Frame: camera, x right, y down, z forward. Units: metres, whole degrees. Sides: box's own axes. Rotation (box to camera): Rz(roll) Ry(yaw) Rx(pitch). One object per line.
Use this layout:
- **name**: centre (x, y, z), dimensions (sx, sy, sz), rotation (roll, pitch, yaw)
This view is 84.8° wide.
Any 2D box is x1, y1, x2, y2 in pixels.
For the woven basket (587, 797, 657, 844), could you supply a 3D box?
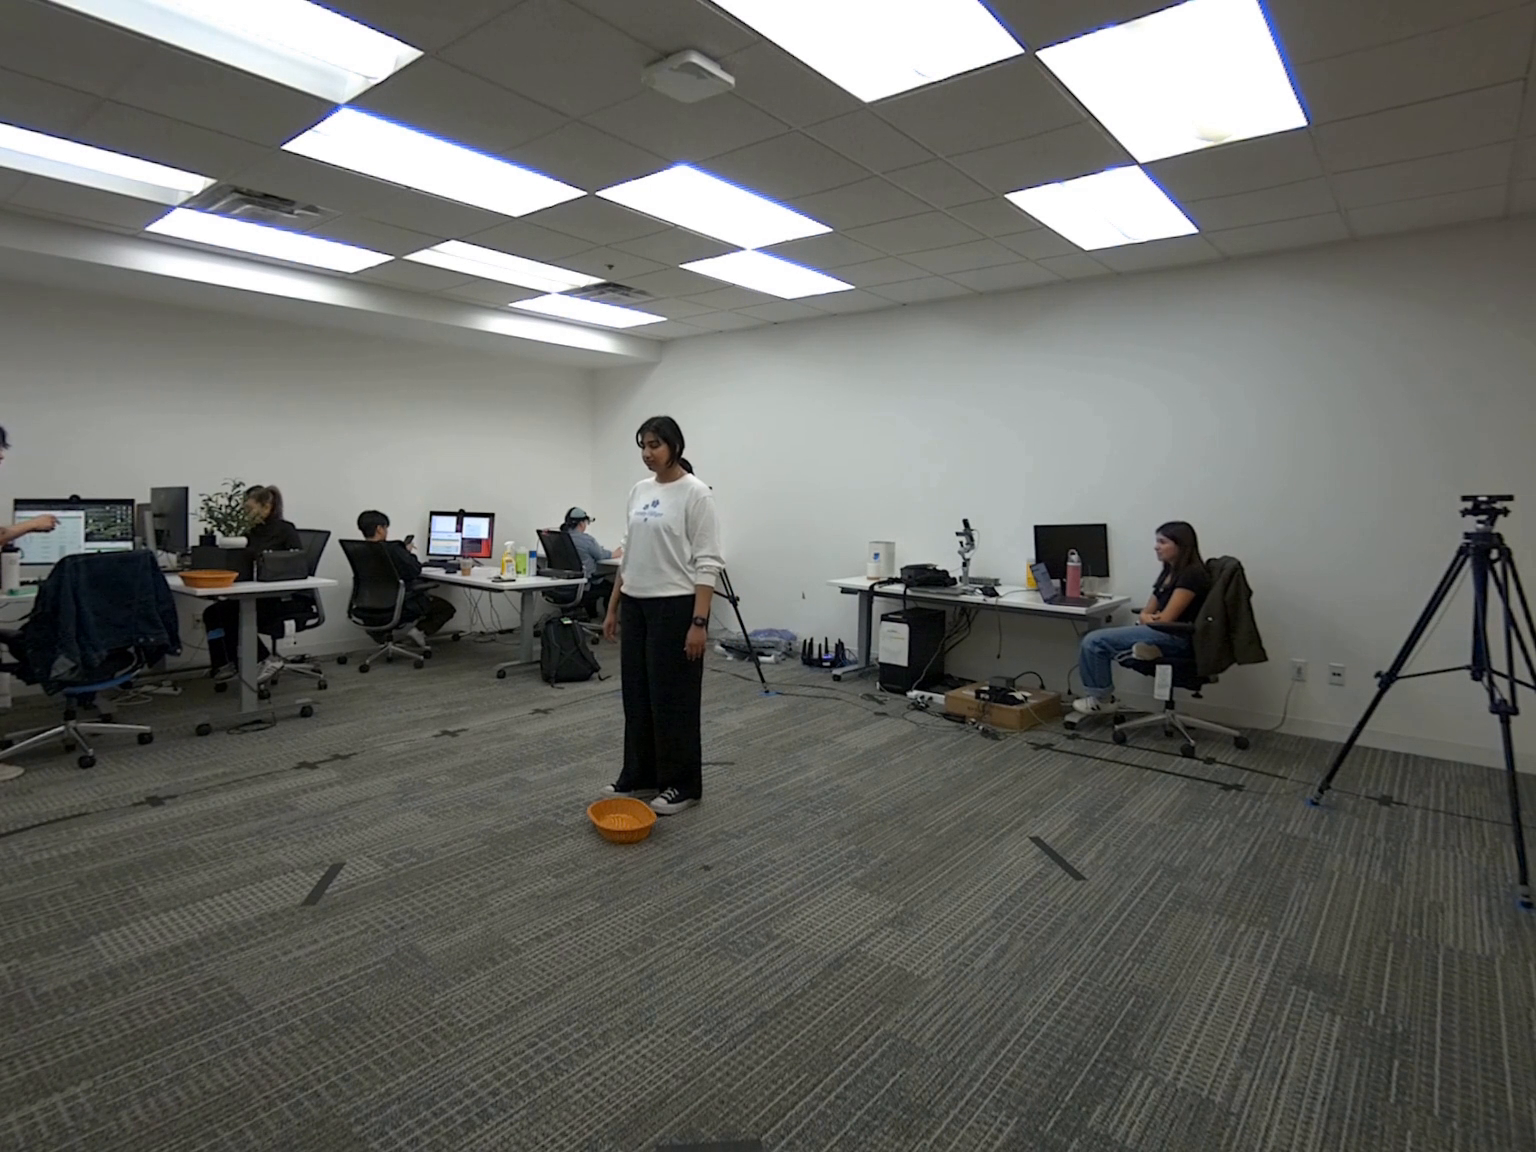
- **woven basket**: centre (-0.597, 0.987, 3.445), dimensions (0.247, 0.073, 0.359), rotation (-2, 6, -22)
